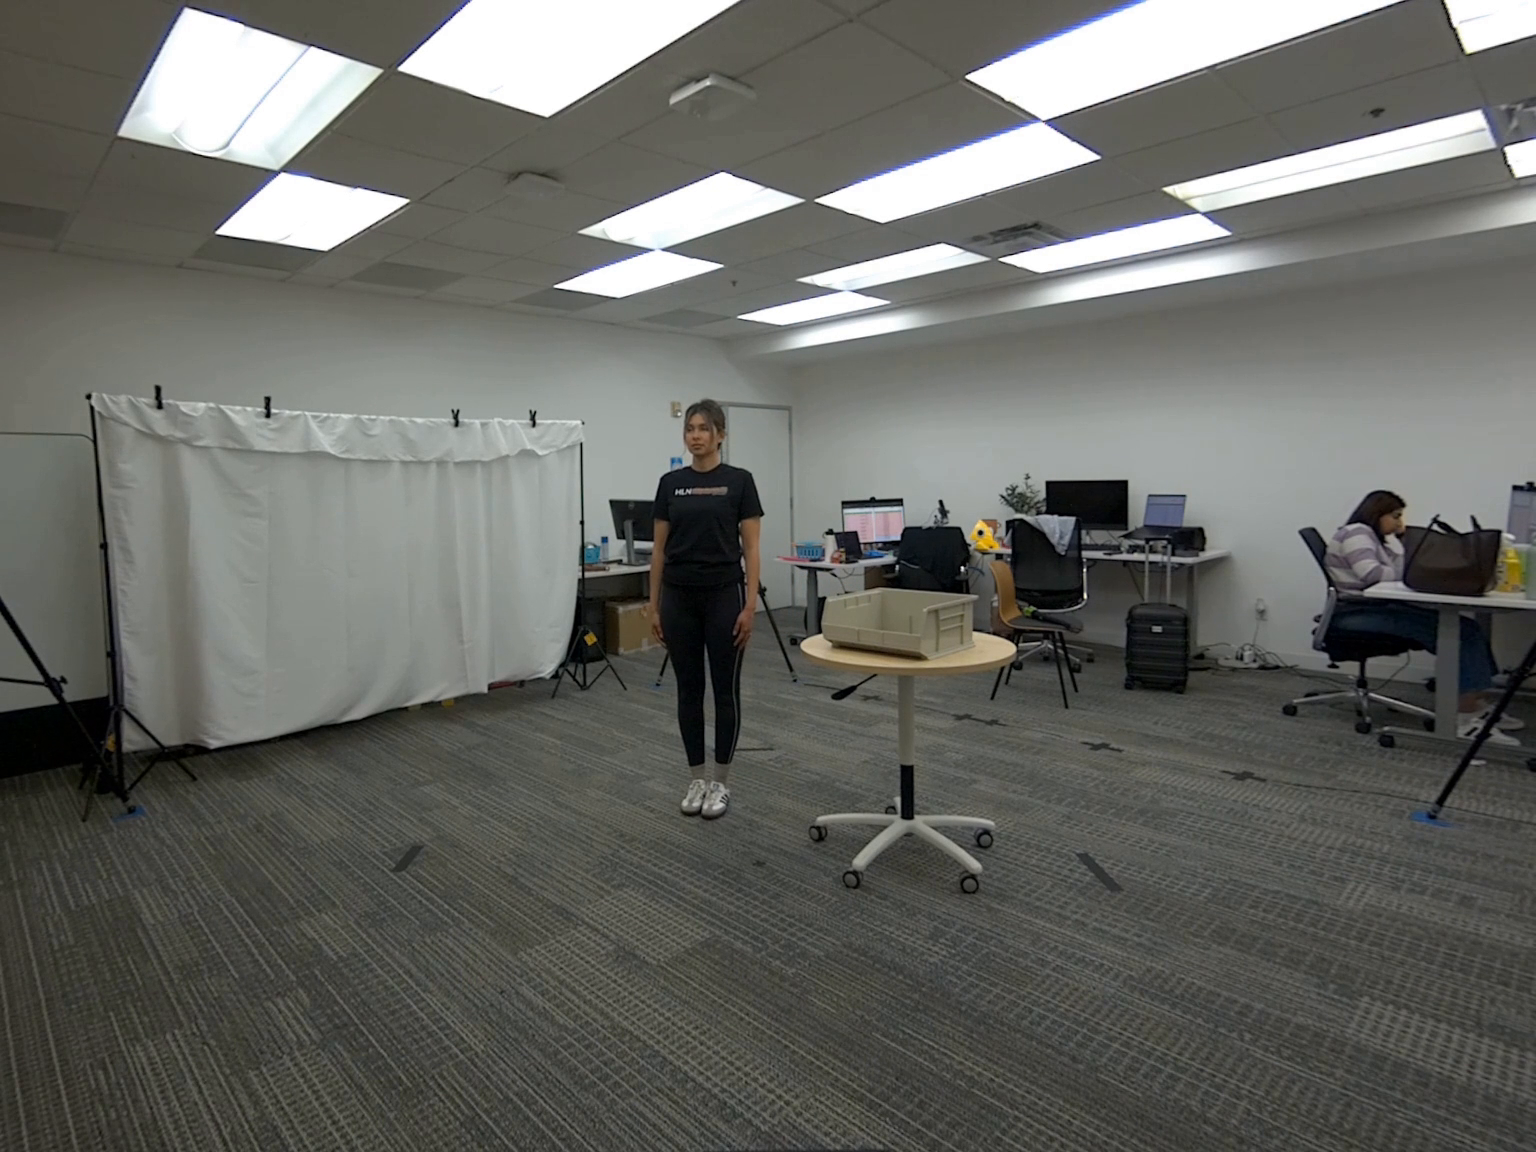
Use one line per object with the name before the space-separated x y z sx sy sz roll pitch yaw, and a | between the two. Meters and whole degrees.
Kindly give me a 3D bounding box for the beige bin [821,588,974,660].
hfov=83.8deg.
beige bin | 0.474 0.169 3.071 0.435 0.188 0.367 3 6 44
